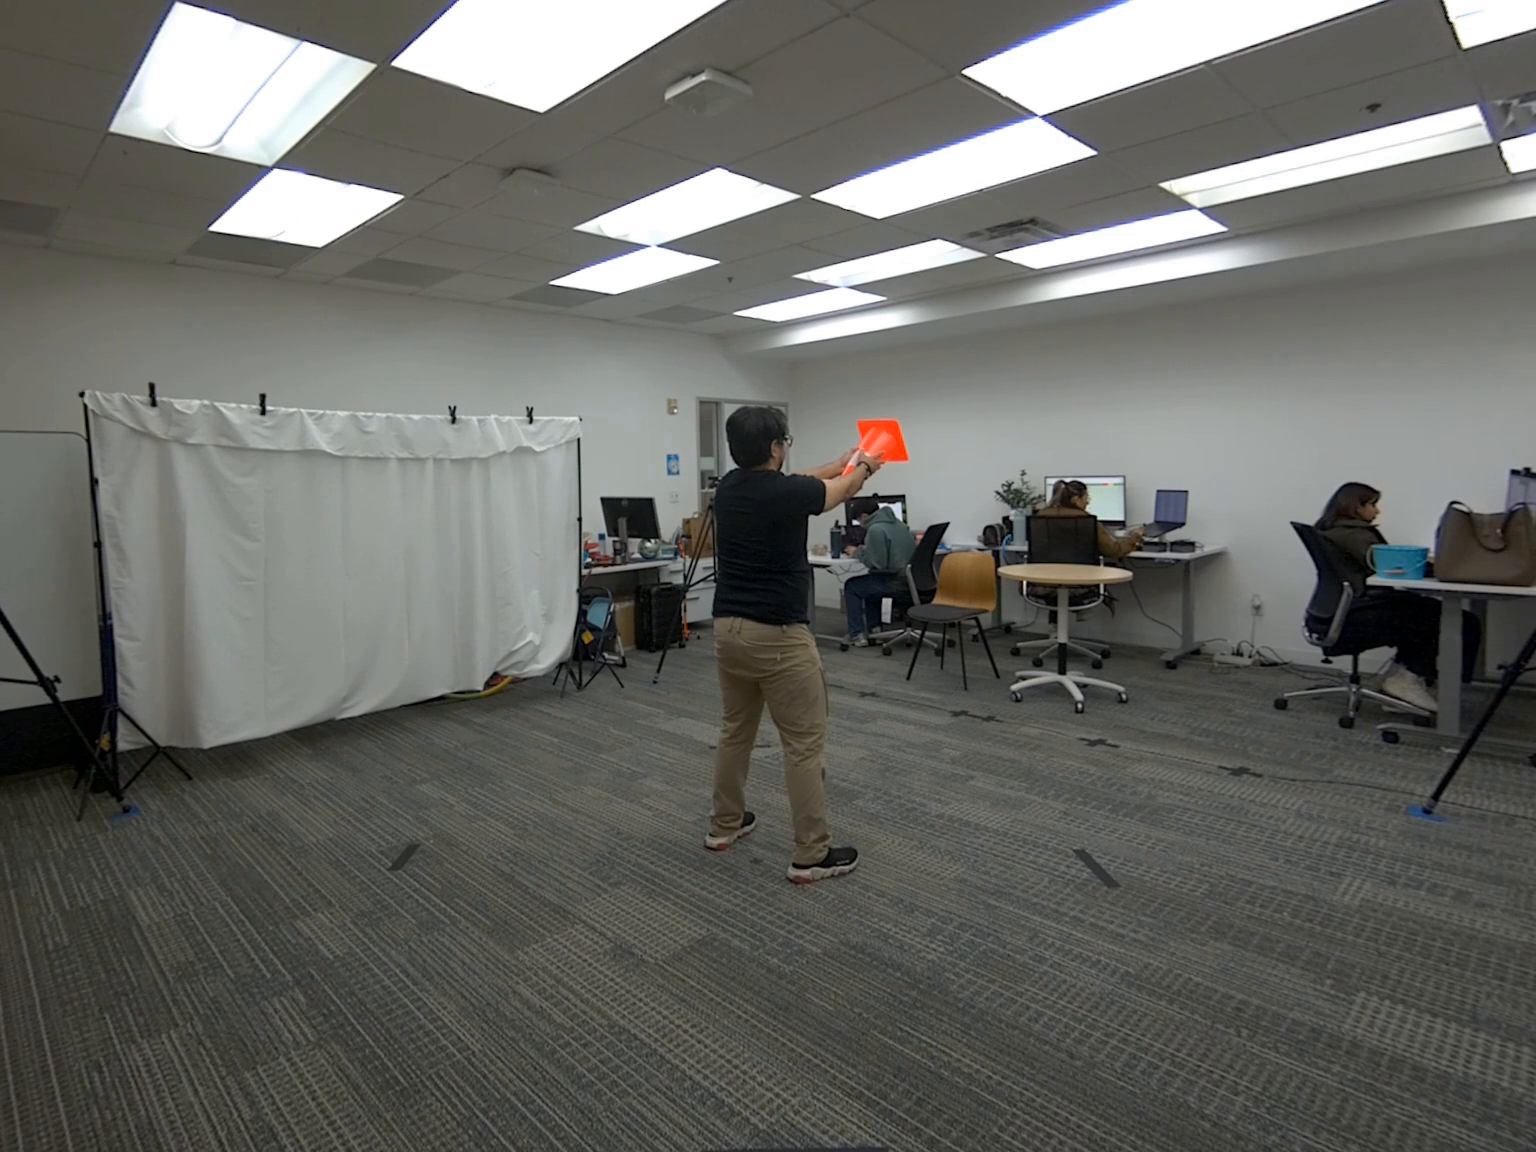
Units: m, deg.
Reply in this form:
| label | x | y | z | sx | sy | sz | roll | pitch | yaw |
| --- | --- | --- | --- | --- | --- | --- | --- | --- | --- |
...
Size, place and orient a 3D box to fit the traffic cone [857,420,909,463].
| label | x | y | z | sx | sy | sz | roll | pitch | yaw |
| --- | --- | --- | --- | --- | --- | --- | --- | --- | --- |
| traffic cone | 0.382 | -0.442 | 3.457 | 0.211 | 0.197 | 0.383 | 6 | 41 | 40 |
